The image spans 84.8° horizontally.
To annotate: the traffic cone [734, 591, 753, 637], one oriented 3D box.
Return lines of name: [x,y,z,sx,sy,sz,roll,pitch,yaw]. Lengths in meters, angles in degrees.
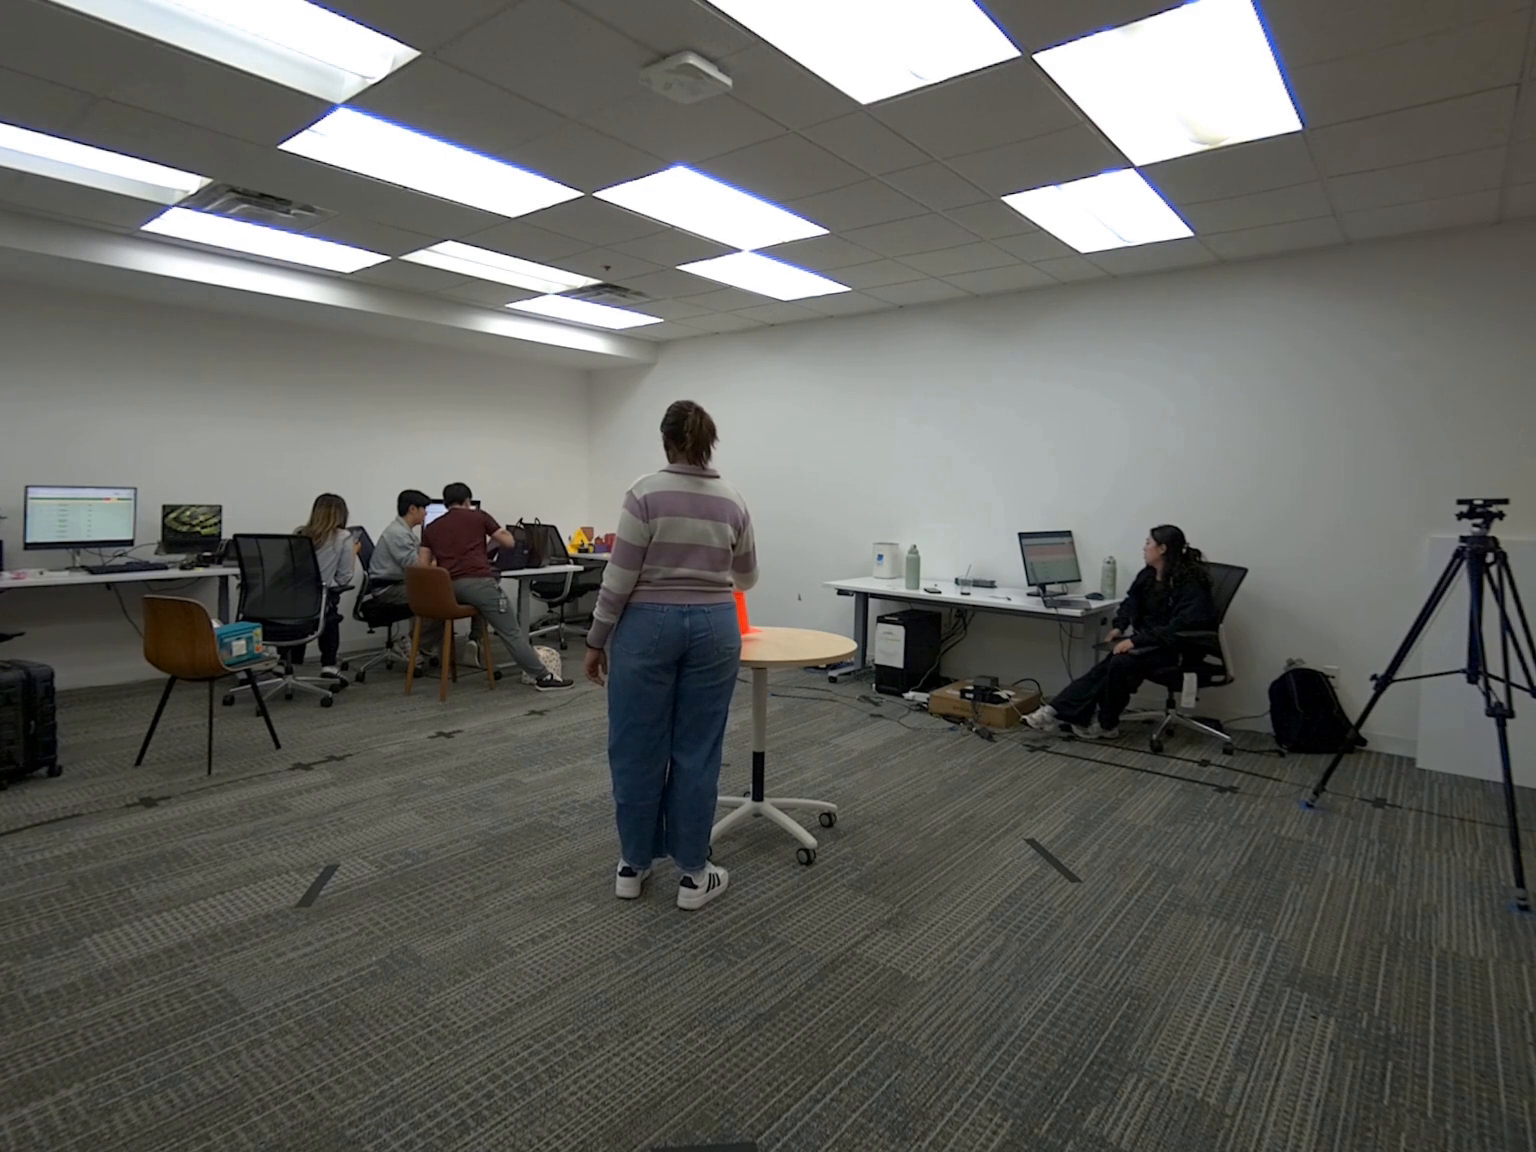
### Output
traffic cone: [-0.157,0.032,3.417,0.210,0.381,0.200,5,8,34]
